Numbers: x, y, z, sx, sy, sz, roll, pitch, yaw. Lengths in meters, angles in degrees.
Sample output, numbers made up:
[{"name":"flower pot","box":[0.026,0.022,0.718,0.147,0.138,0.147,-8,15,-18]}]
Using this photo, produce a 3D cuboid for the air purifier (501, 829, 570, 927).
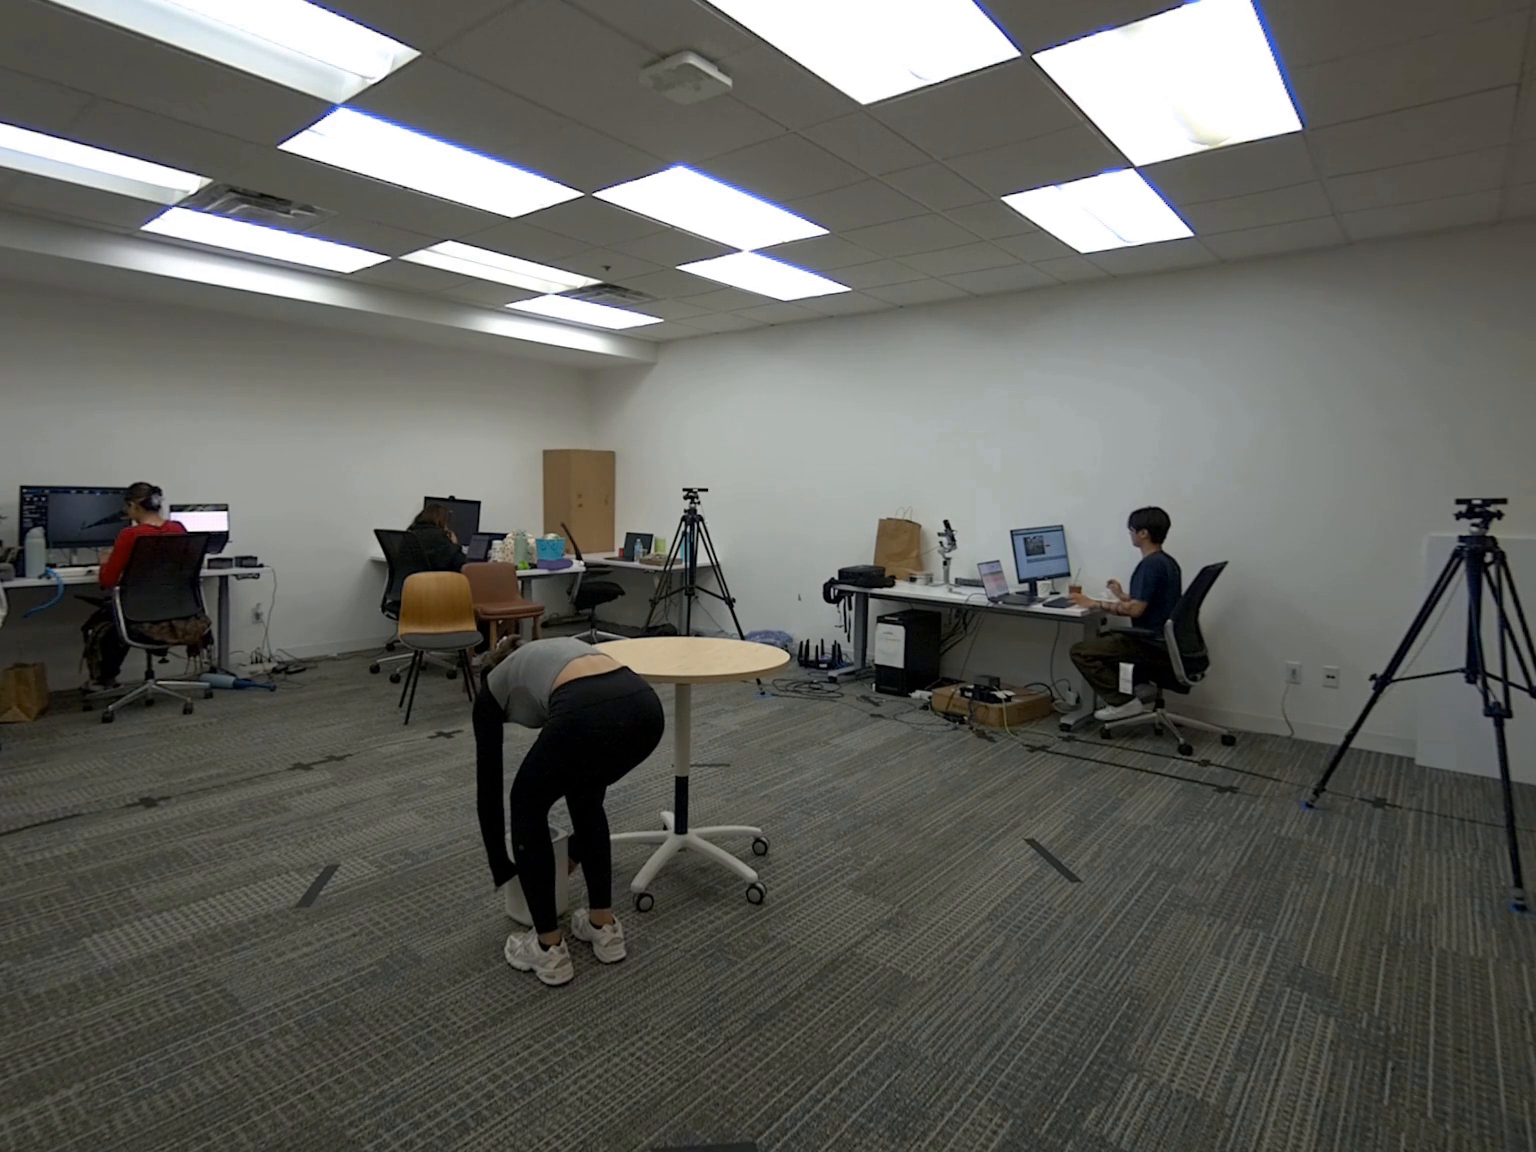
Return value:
[{"name":"air purifier","box":[-0.758,0.966,2.754,0.177,0.265,0.166,2,4,36]}]
